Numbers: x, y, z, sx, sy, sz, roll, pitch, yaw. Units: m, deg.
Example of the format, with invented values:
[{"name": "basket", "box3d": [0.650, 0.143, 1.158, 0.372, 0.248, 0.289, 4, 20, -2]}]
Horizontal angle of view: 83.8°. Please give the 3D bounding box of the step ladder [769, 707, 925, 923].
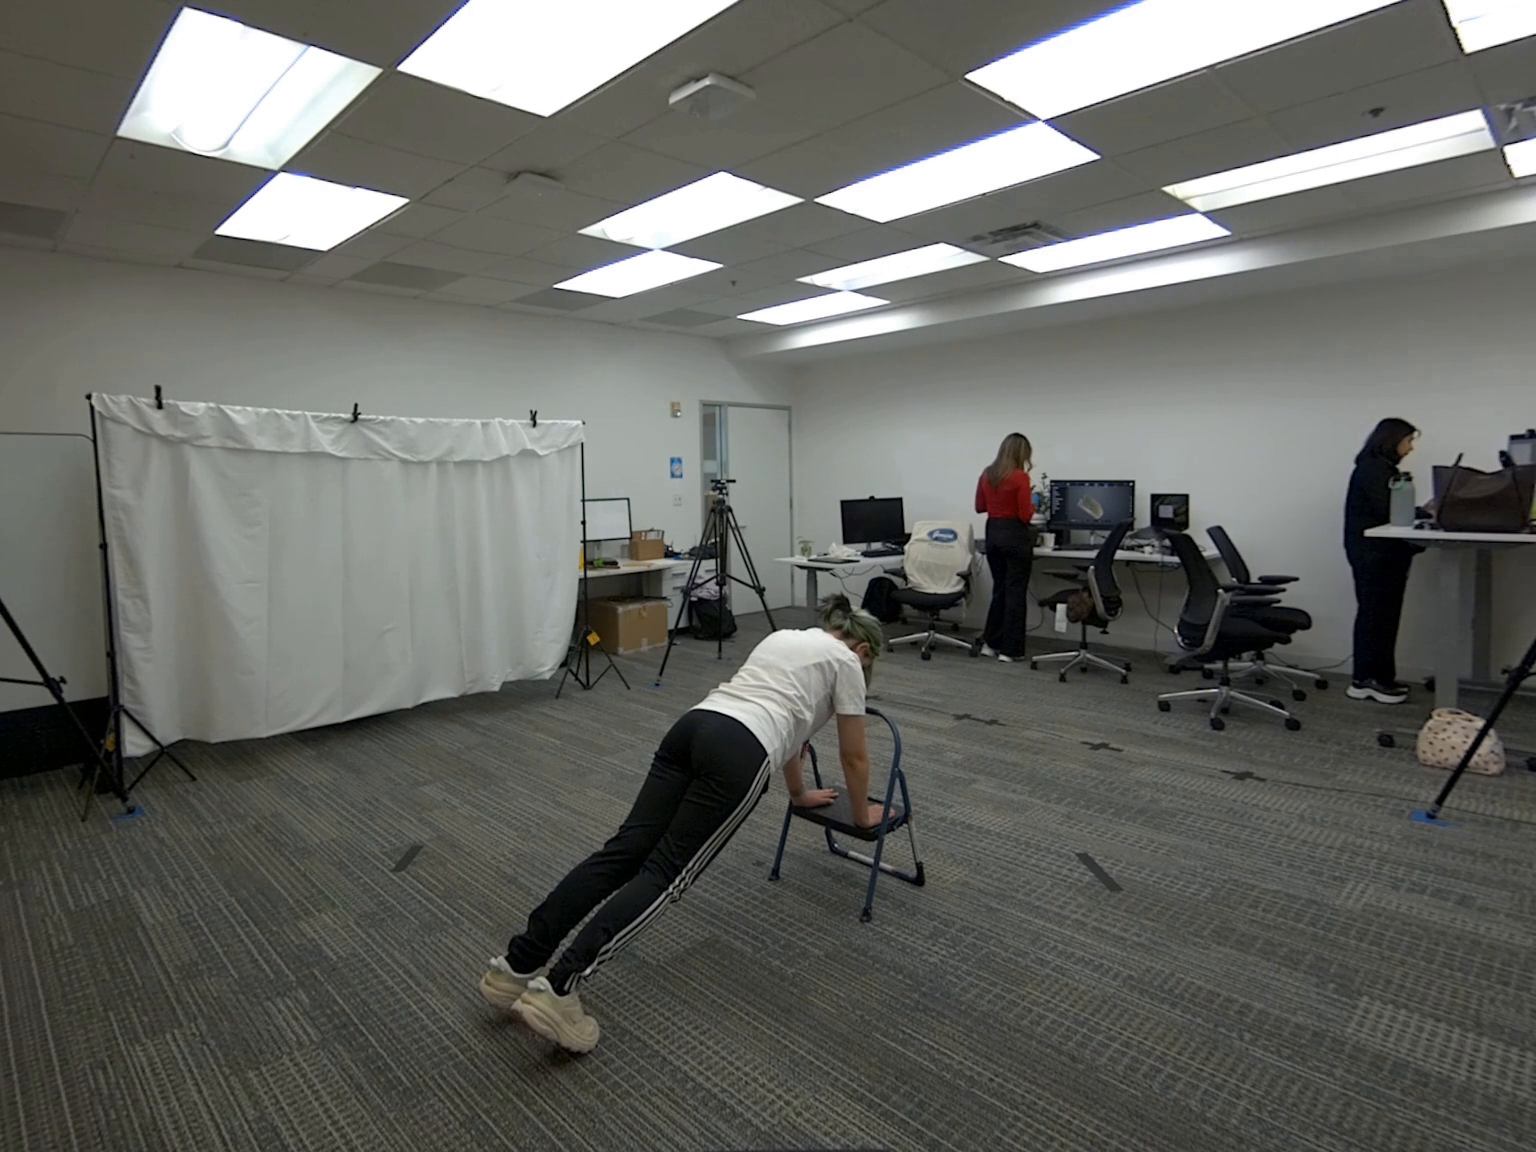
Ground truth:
[{"name": "step ladder", "box3d": [0.271, 0.758, 2.939, 0.444, 0.604, 0.340, 3, 6, 45]}]
